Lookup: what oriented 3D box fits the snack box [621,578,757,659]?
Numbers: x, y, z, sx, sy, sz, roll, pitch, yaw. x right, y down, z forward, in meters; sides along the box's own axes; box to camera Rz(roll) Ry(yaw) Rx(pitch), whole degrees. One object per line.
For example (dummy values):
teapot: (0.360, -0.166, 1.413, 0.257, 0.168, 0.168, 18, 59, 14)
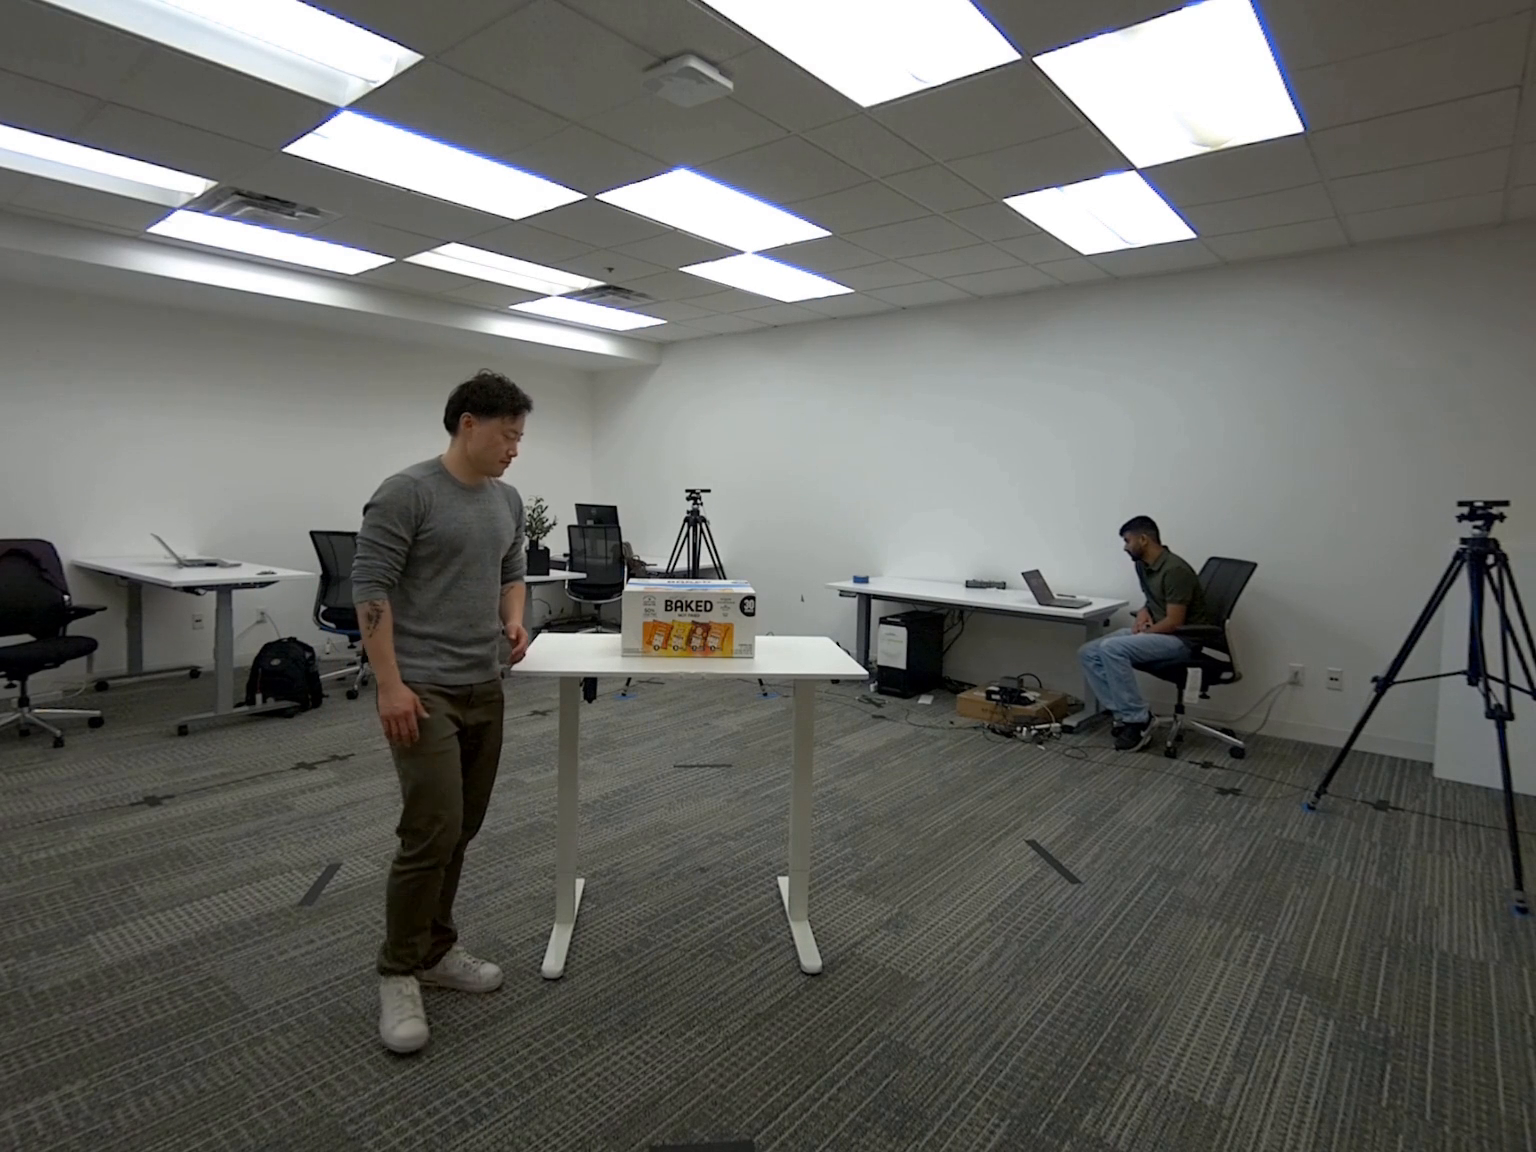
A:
snack box: (-0.267, 0.128, 2.726, 0.404, 0.205, 0.343, 1, 6, -4)
